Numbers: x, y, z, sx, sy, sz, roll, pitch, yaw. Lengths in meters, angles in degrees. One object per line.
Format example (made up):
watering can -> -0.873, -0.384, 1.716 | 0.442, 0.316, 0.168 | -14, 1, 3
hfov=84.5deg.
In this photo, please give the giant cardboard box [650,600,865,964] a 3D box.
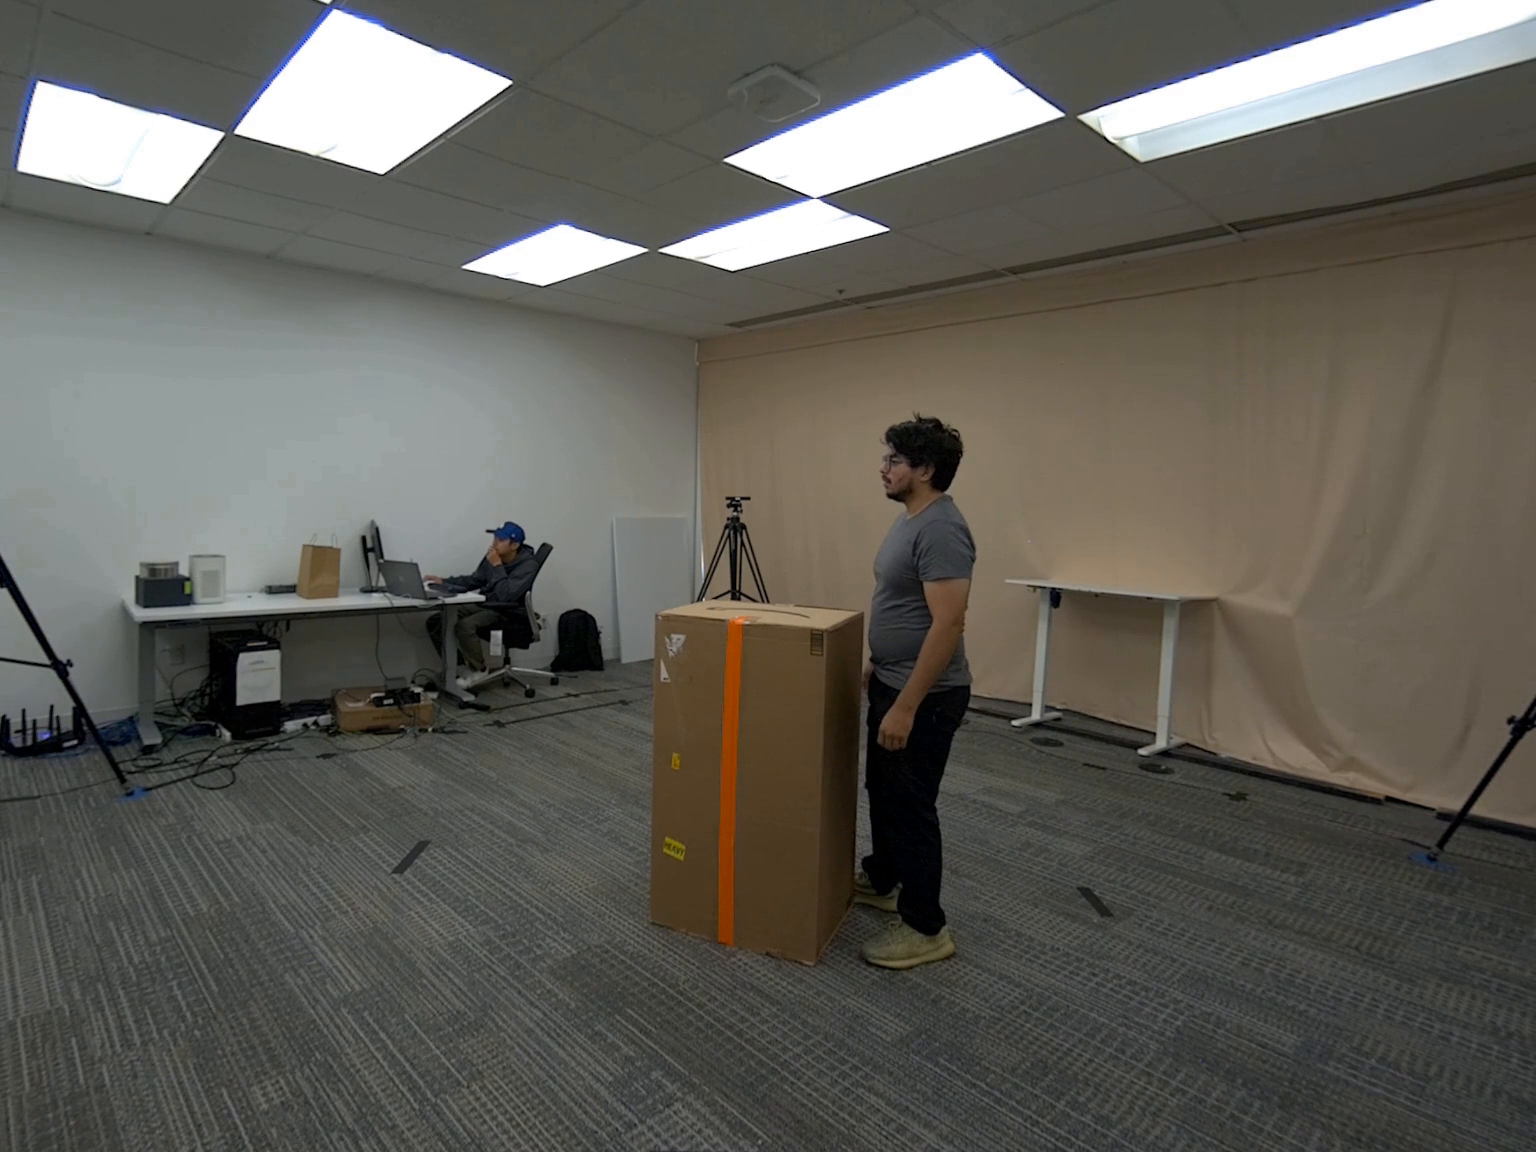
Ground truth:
giant cardboard box -> -0.045, 0.633, 2.789 | 0.595, 1.024, 0.439 | 3, 4, 24
